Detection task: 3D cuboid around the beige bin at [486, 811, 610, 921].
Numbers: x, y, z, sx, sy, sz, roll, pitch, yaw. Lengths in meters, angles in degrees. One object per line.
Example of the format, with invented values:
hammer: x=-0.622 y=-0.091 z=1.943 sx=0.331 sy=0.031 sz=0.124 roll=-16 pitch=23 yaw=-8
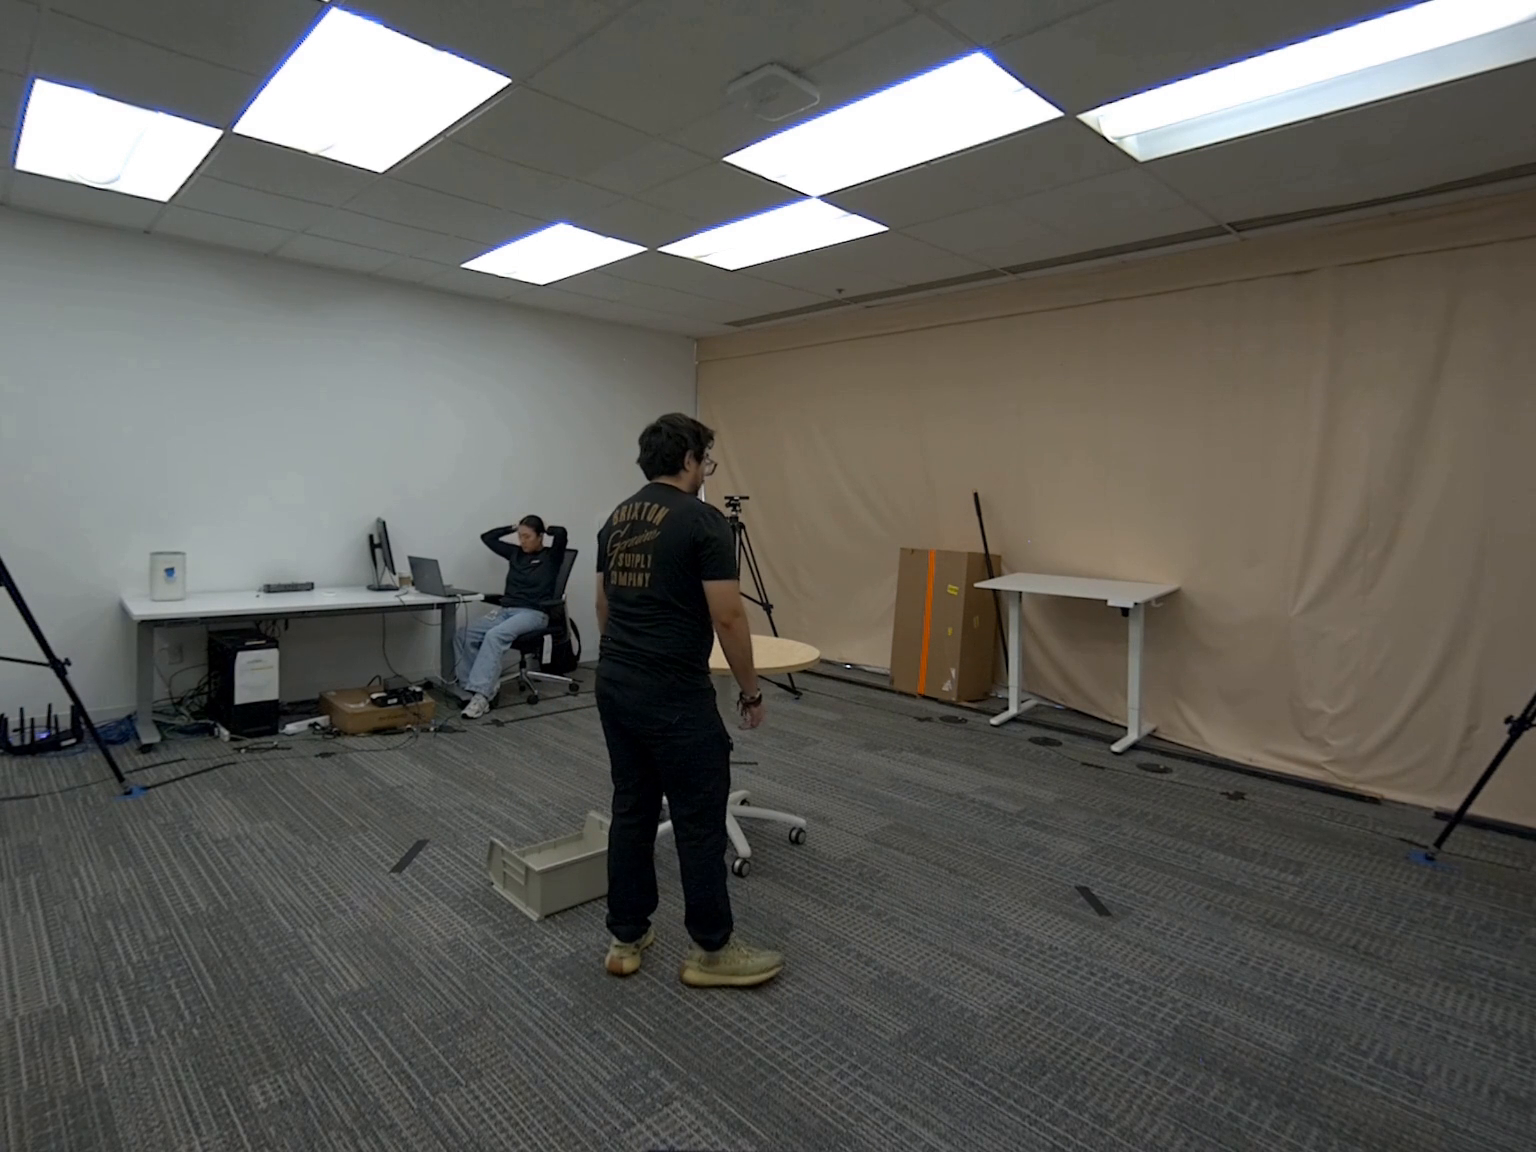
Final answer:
beige bin: x=-0.728 y=1.007 z=2.995 sx=0.413 sy=0.188 sz=0.387 roll=-3 pitch=7 yaw=-43
